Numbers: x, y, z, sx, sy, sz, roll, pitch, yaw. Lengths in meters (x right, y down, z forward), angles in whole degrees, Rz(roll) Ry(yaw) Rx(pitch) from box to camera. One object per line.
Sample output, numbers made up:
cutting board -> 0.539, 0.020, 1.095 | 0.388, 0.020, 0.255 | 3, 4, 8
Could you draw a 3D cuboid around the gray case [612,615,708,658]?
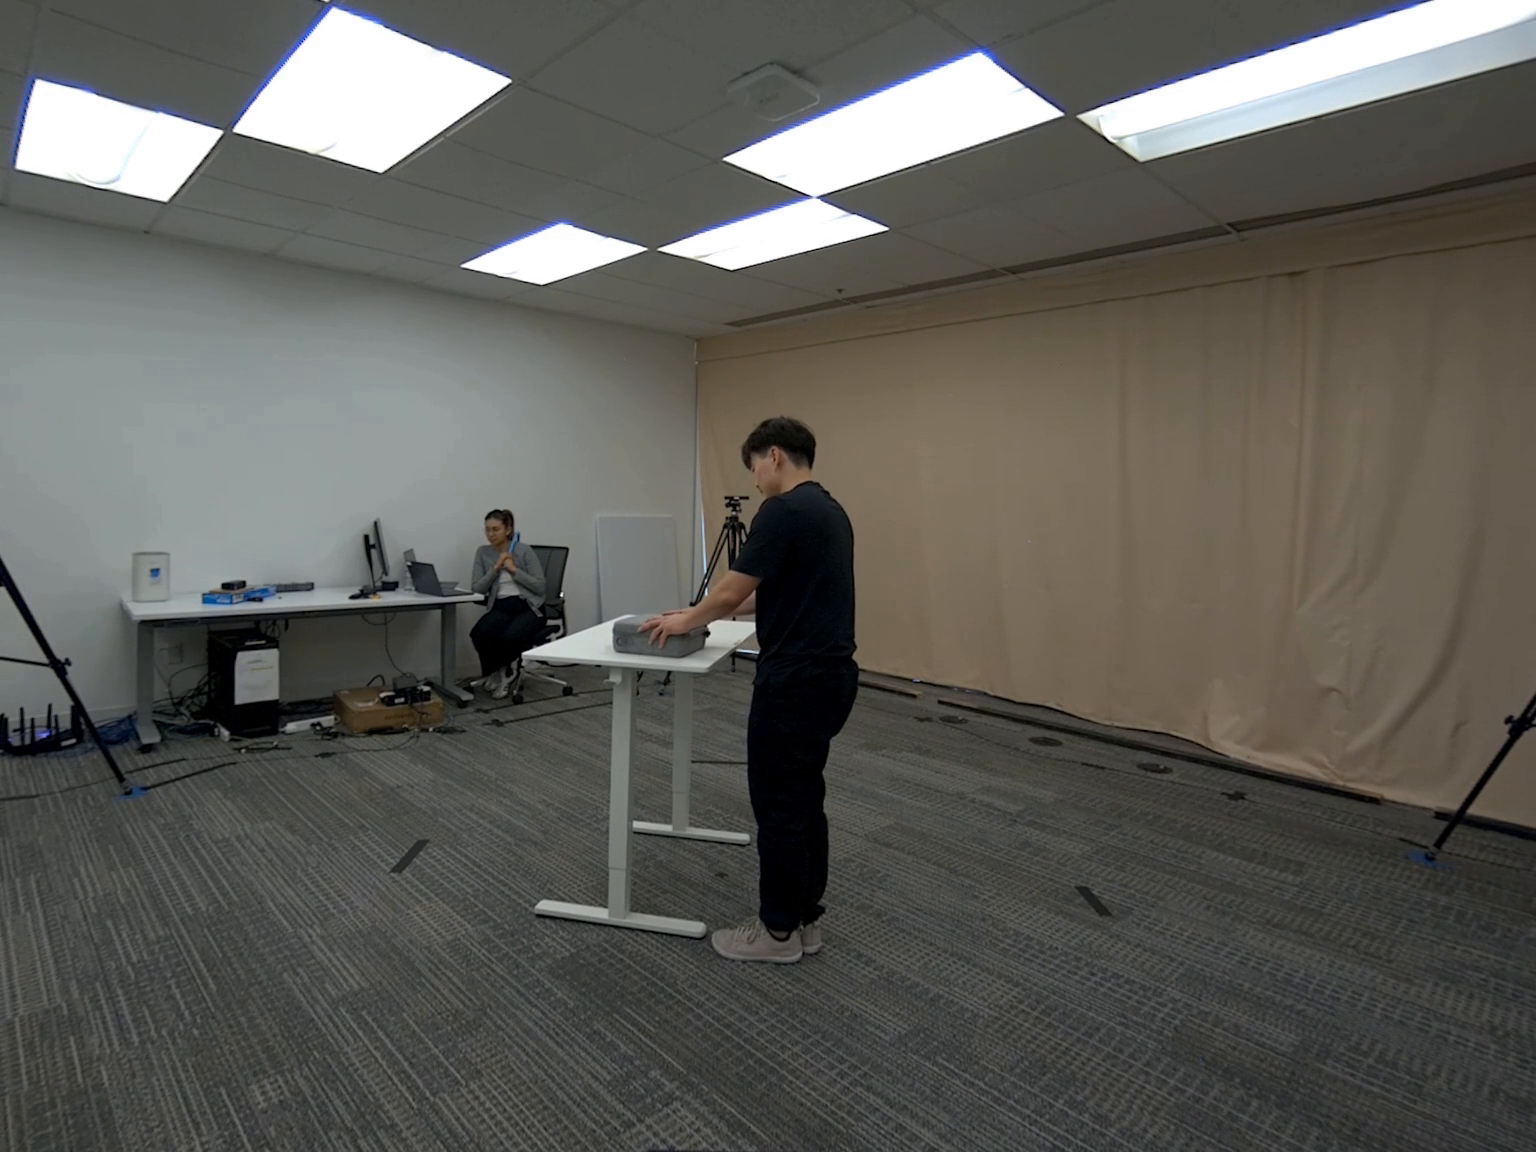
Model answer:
gray case -> -0.367, 0.193, 2.783 | 0.265, 0.104, 0.254 | 4, 6, 18
